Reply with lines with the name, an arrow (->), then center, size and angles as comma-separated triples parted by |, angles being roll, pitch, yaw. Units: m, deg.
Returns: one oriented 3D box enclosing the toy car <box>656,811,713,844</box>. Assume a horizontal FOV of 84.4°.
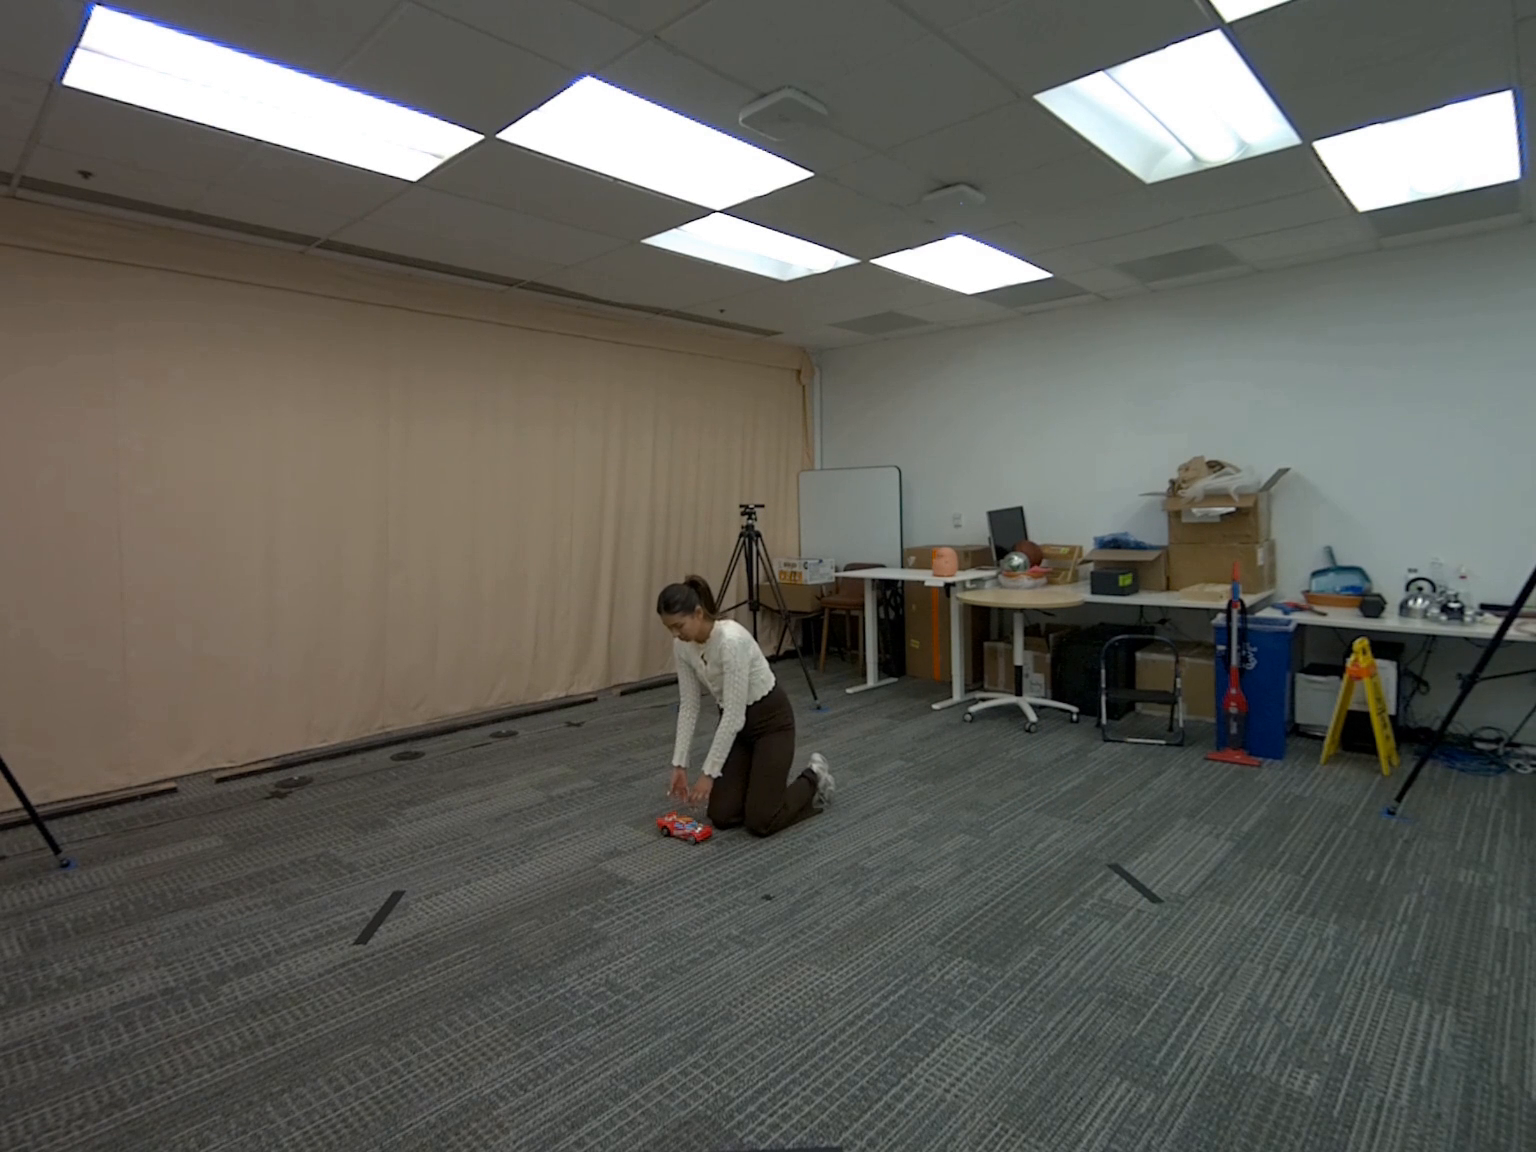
toy car -> -0.362, 1.067, 3.562 | 0.263, 0.083, 0.126 | 15, 13, 38
